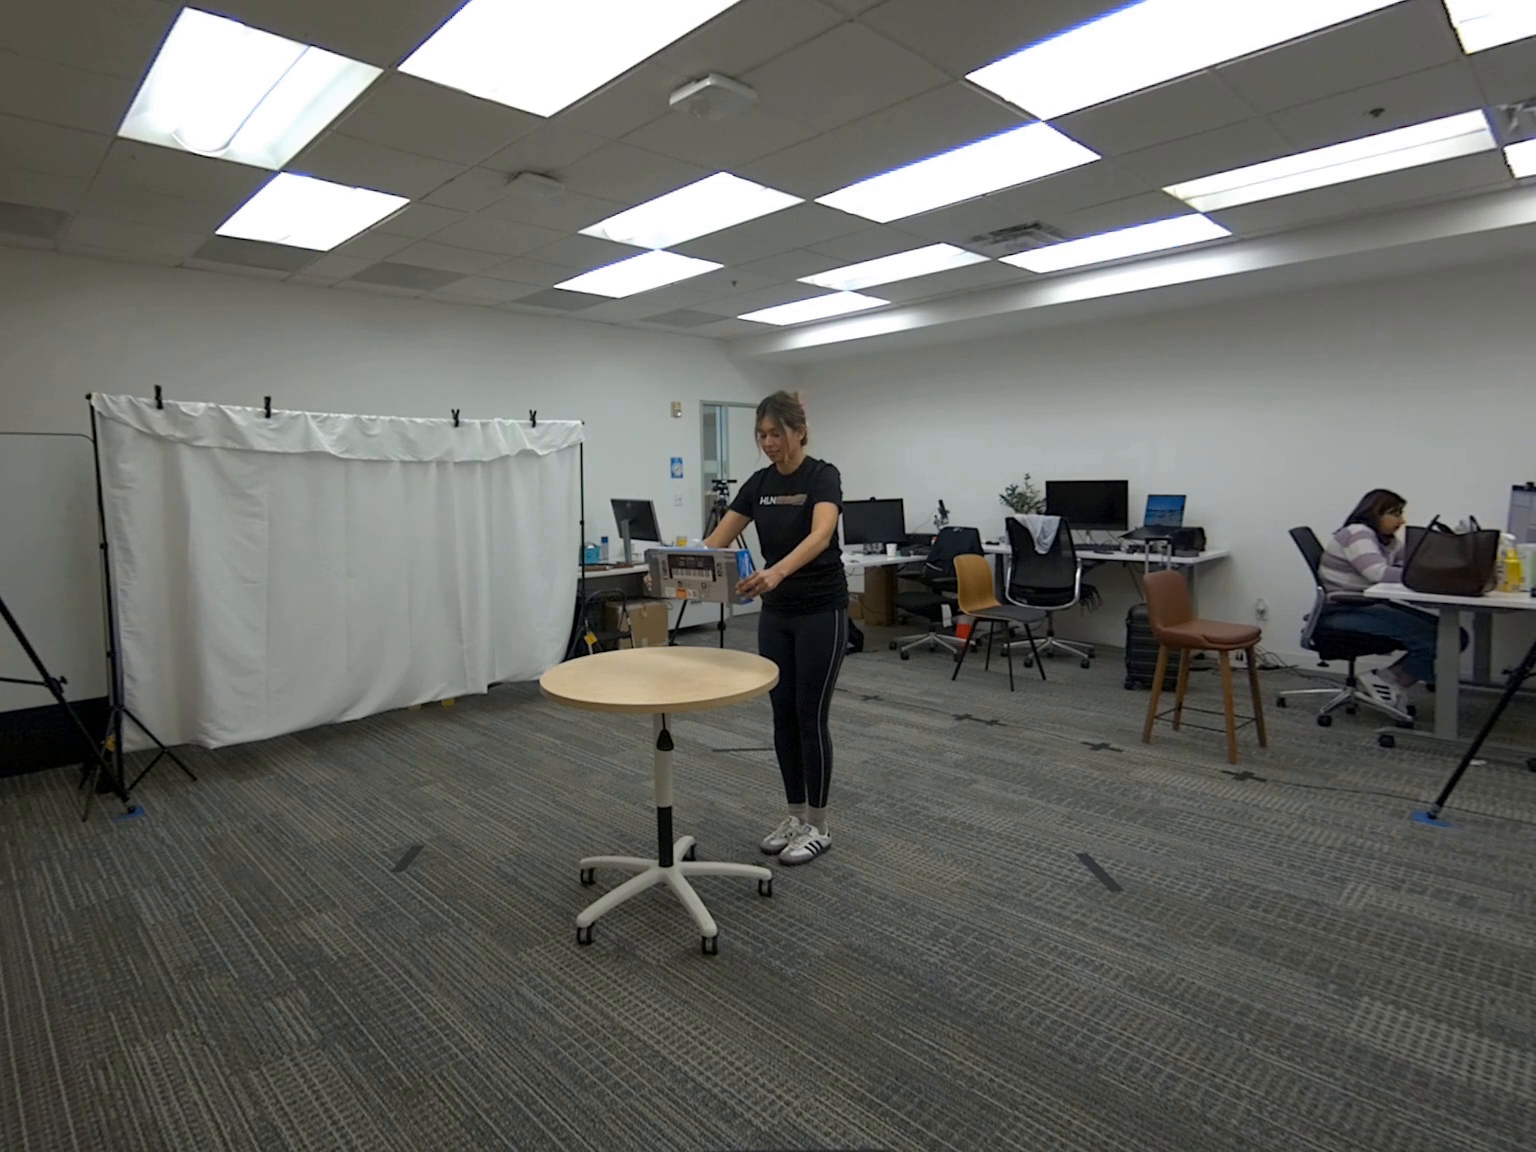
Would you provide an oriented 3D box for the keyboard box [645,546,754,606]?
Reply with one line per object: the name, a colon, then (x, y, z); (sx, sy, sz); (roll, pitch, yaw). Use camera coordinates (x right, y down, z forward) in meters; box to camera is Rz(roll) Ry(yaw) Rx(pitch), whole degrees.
keyboard box: (-0.233, -0.004, 2.857); (0.450, 0.175, 0.058); (3, 9, 44)
